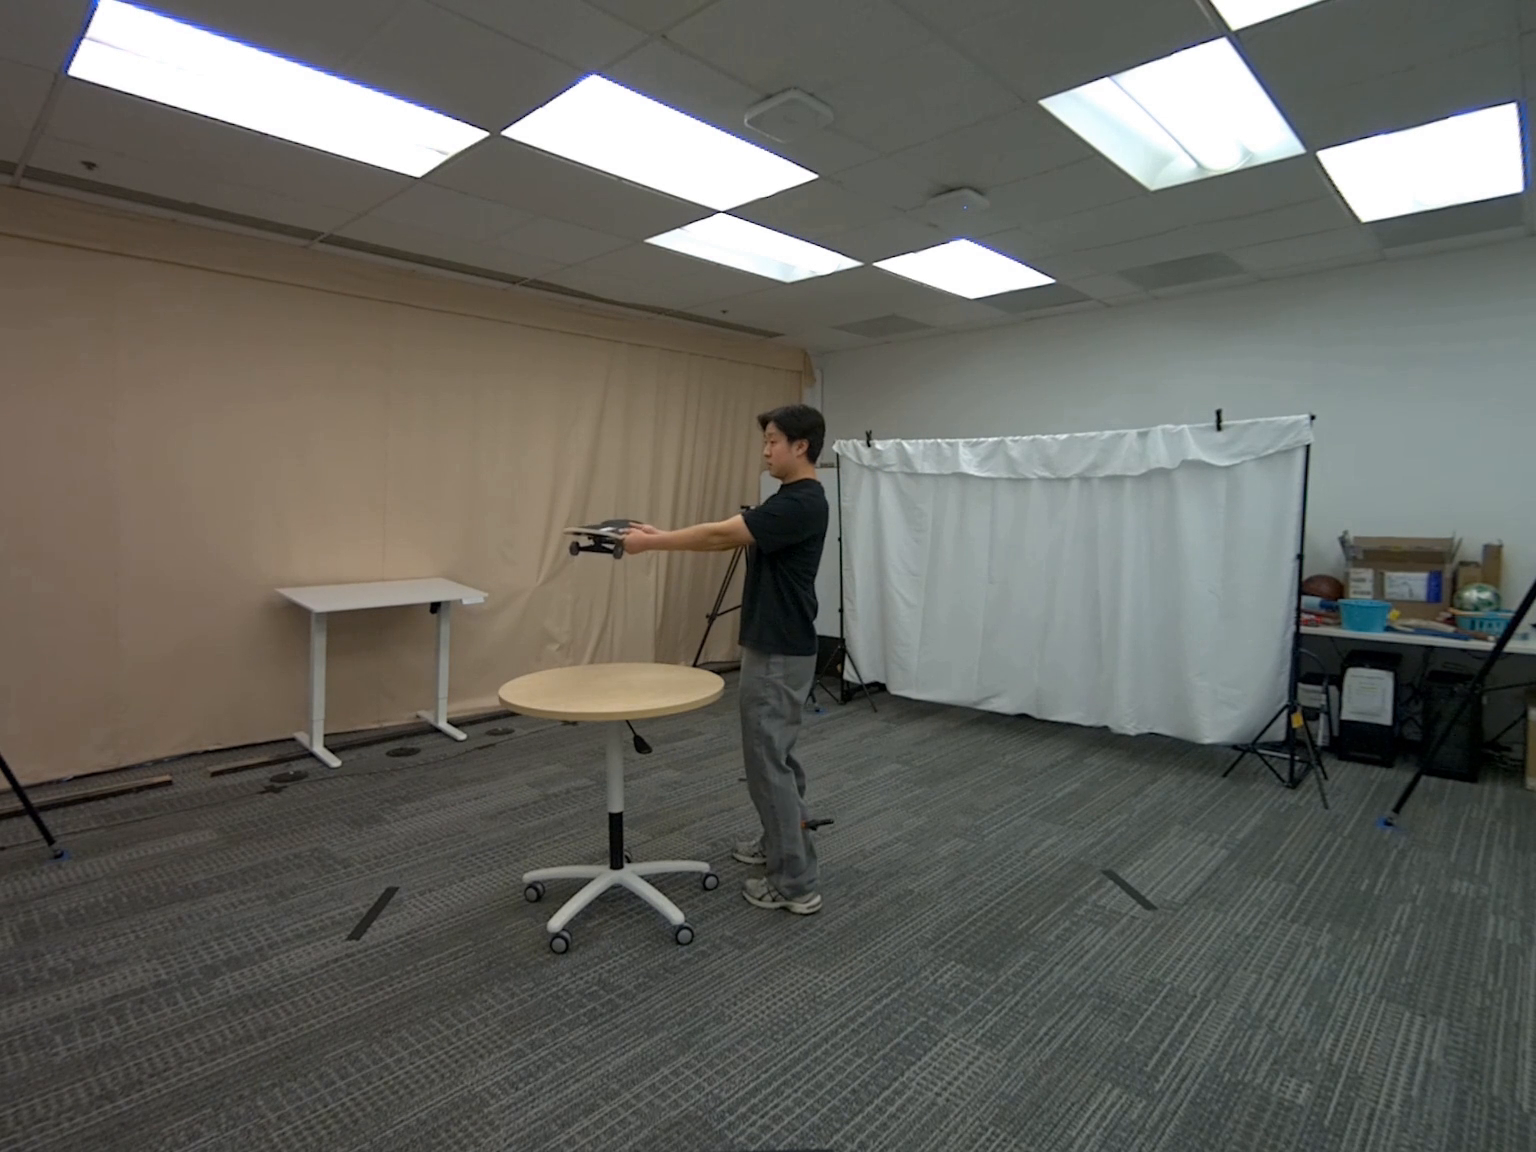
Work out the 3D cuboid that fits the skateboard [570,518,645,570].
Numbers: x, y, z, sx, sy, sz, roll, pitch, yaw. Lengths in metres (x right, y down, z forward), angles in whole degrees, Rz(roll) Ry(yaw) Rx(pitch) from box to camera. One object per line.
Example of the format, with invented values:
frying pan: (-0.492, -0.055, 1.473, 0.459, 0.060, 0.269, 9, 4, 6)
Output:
skateboard: (-0.574, -0.132, 3.110, 0.193, 0.110, 0.791, 2, 7, -5)
